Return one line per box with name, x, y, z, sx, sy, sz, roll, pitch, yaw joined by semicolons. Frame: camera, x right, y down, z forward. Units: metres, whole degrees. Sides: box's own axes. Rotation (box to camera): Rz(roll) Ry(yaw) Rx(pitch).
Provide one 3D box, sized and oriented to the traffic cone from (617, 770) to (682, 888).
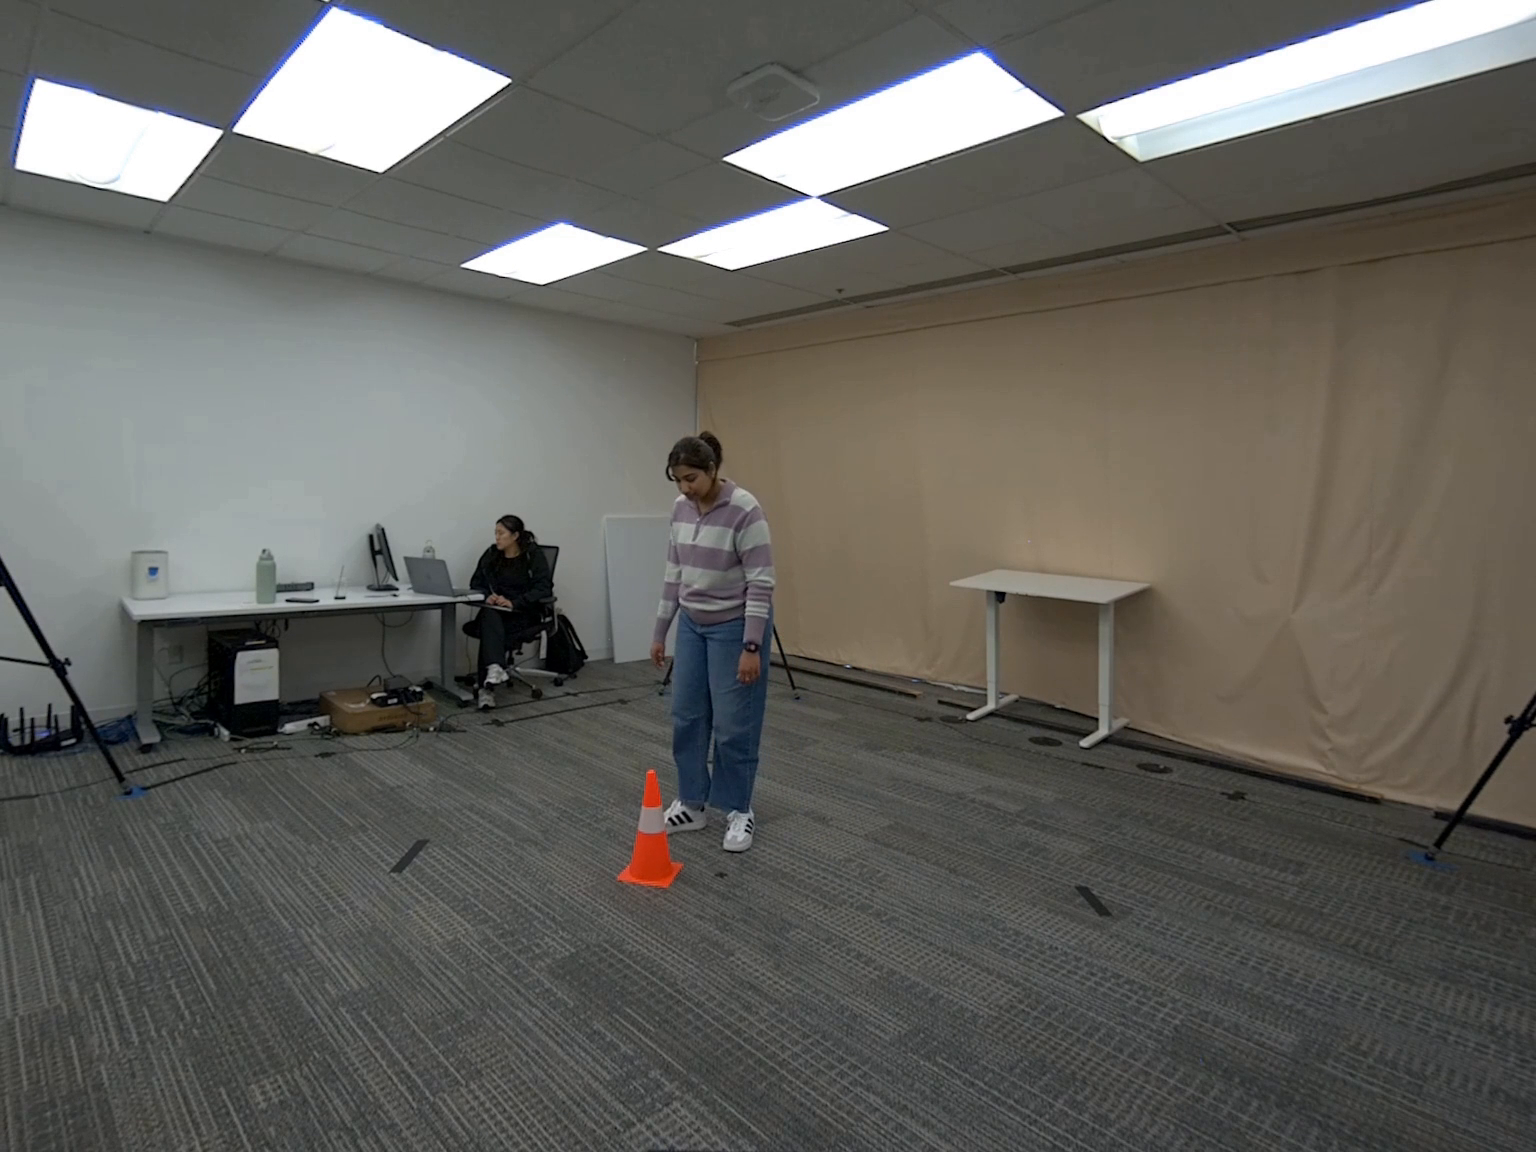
traffic cone;-0.434;0.911;3.108;0.206;0.383;0.203;3;4;13
